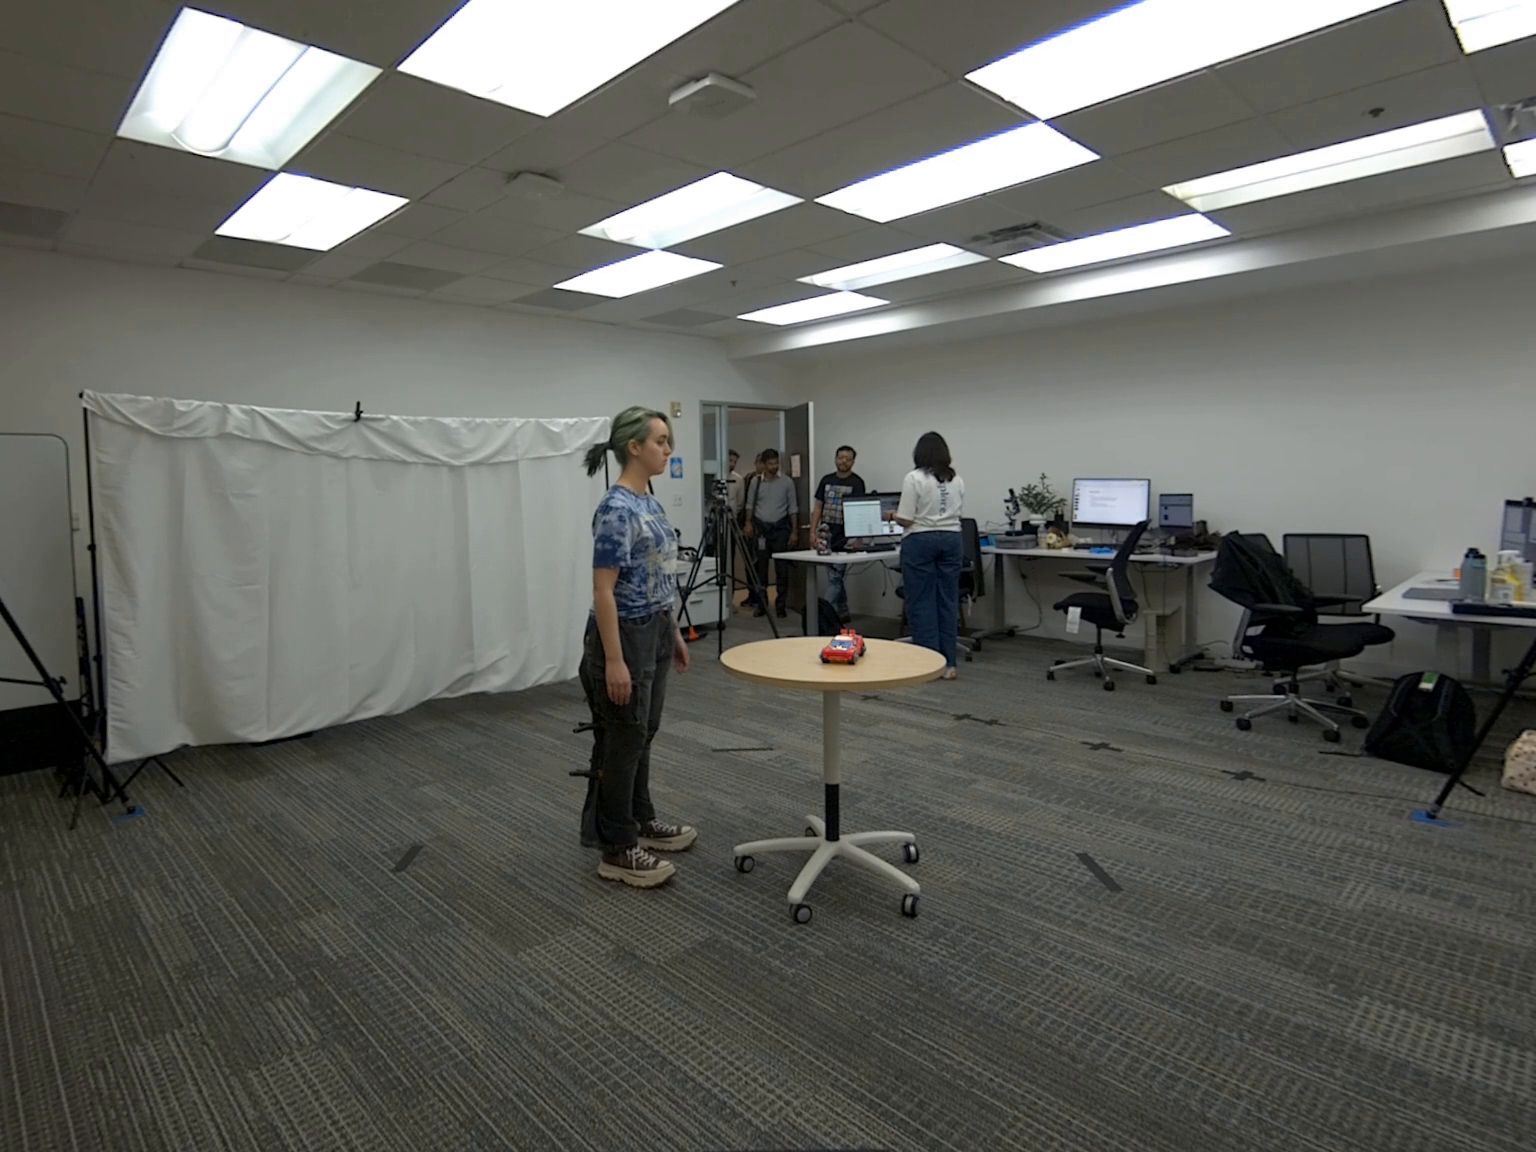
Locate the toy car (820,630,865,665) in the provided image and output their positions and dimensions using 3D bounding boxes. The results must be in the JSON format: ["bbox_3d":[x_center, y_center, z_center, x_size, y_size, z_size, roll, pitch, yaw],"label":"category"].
[{"bbox_3d":[0.259,0.247,2.917,0.132,0.082,0.254,1,17,18],"label":"toy car"}]
